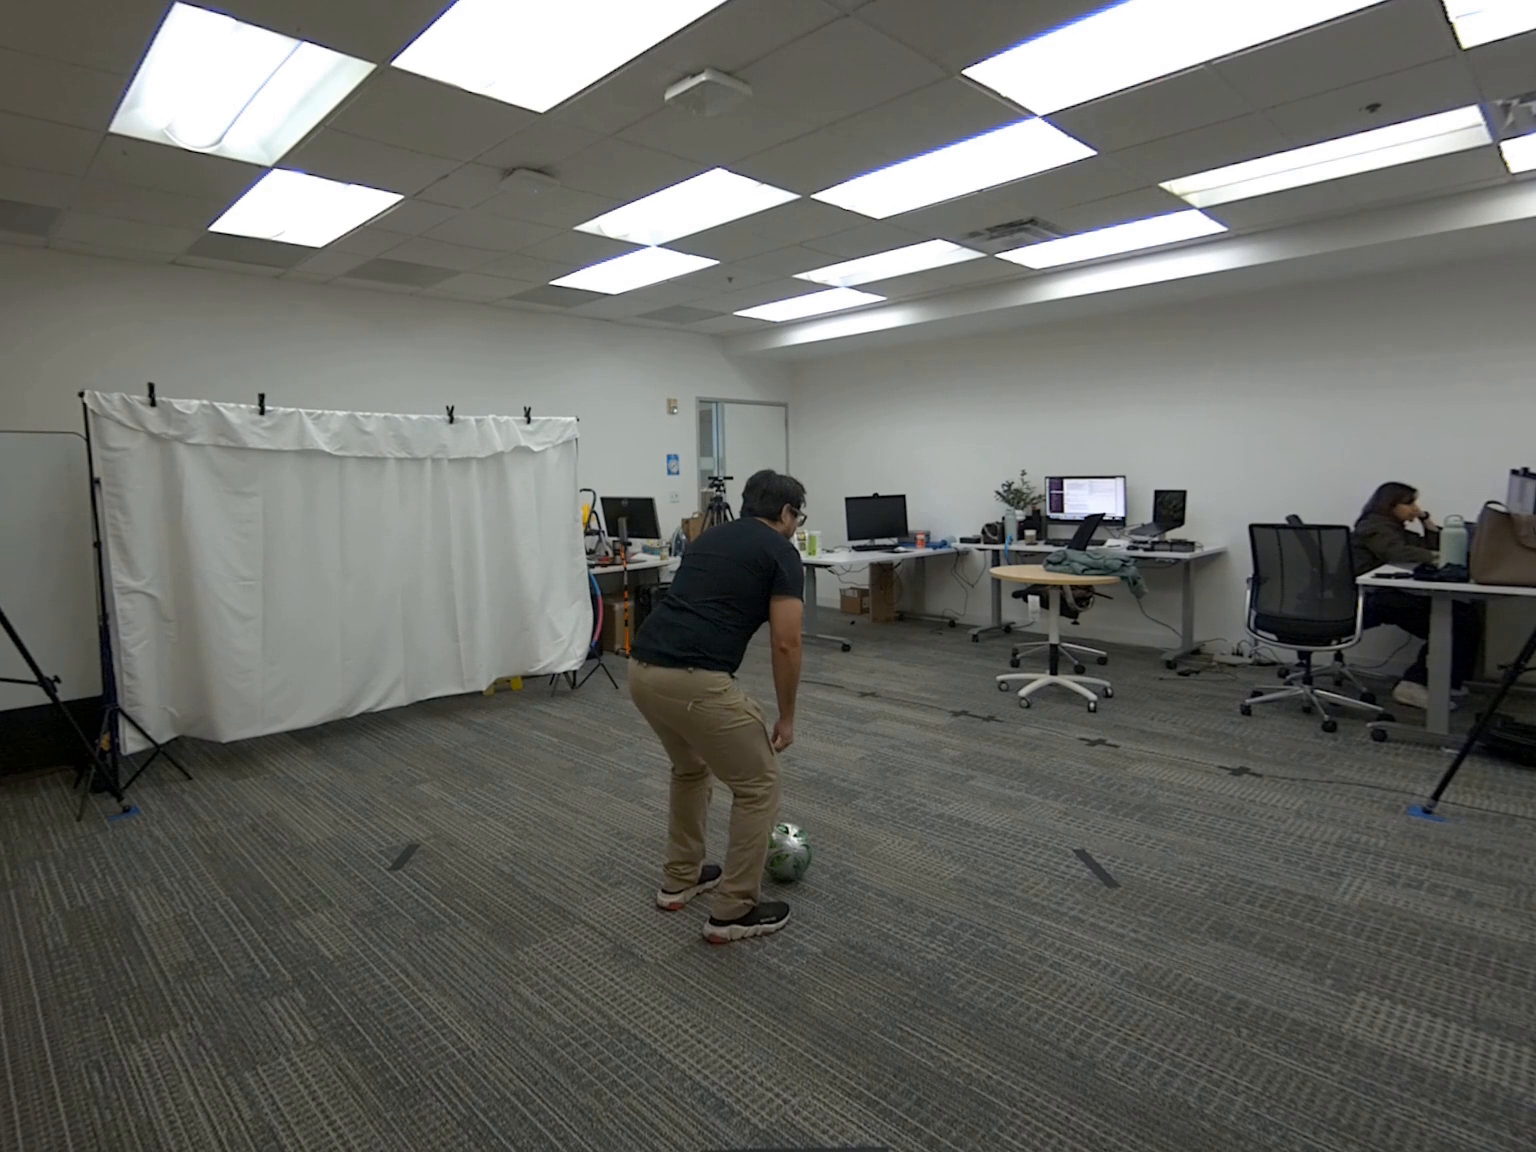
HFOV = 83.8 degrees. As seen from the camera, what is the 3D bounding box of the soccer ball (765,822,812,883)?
[{"bbox_3d":[0.063,0.959,2.968,0.187,0.187,0.188,-1,5,-2],"label":"soccer ball"}]
